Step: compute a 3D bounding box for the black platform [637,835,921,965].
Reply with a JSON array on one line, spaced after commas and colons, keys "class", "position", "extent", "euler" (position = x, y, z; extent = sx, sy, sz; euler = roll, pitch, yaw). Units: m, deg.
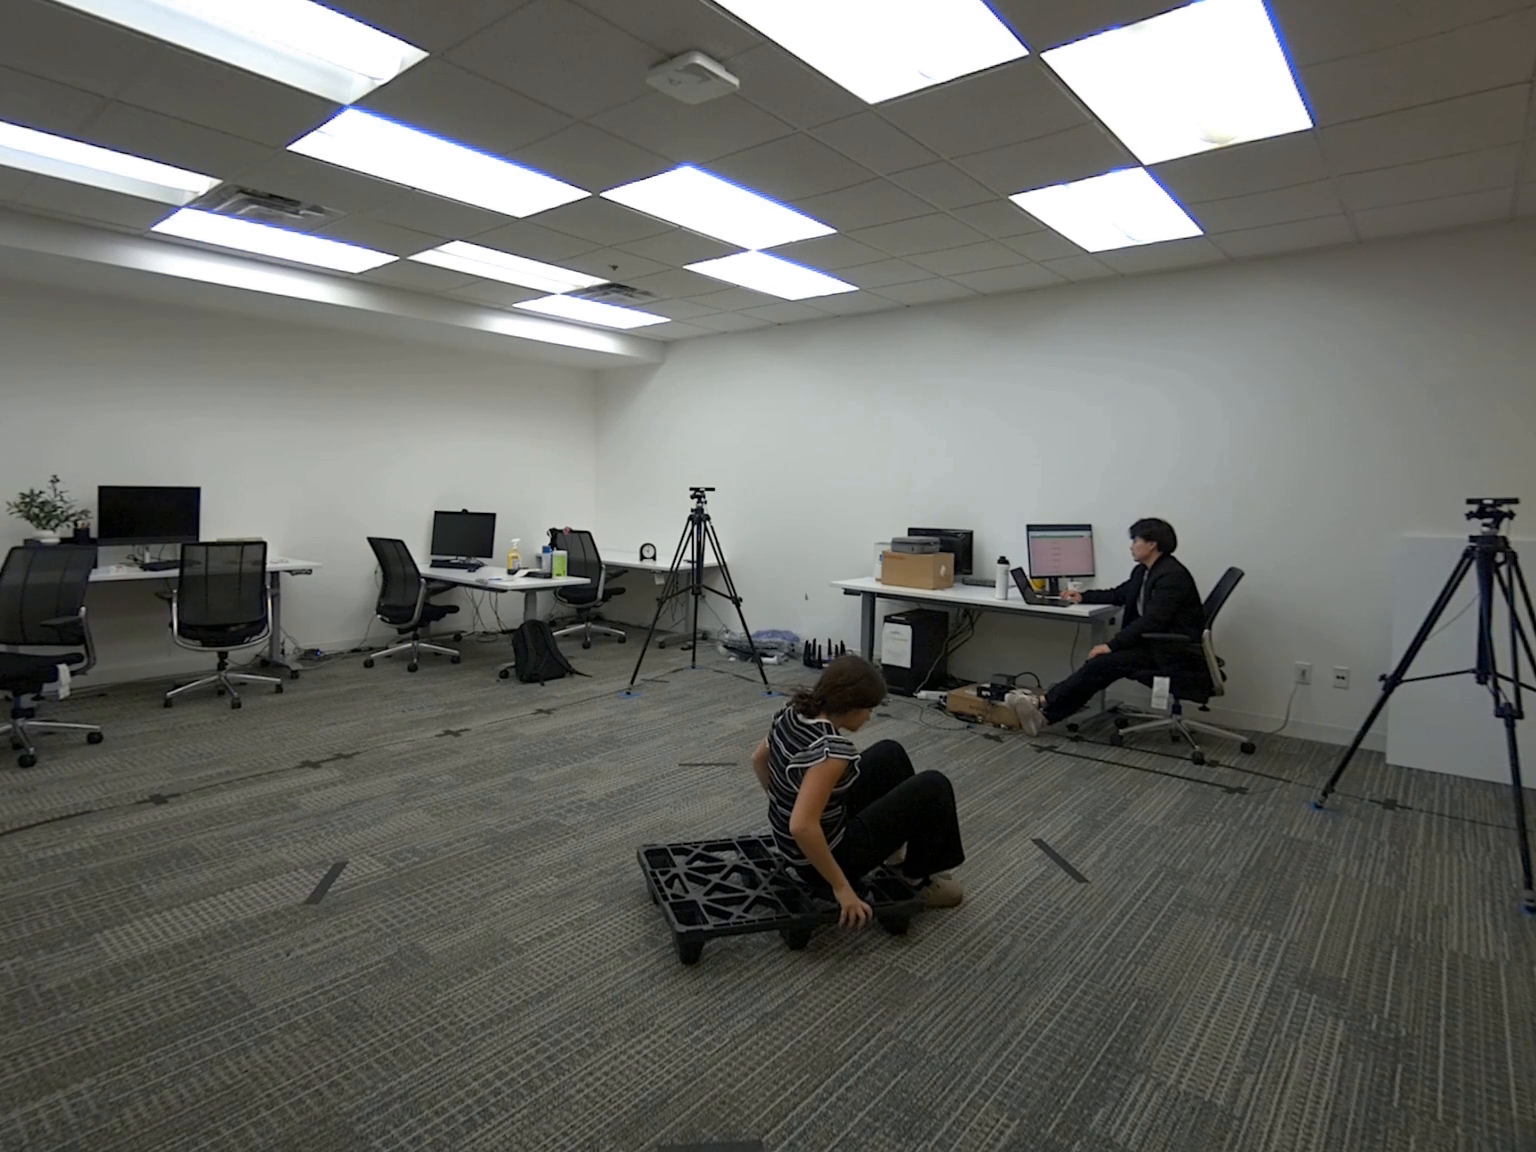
[{"class": "black platform", "position": [0.008, 1.036, 2.795], "extent": [0.791, 0.143, 0.619], "euler": [0, 6, -17]}]
